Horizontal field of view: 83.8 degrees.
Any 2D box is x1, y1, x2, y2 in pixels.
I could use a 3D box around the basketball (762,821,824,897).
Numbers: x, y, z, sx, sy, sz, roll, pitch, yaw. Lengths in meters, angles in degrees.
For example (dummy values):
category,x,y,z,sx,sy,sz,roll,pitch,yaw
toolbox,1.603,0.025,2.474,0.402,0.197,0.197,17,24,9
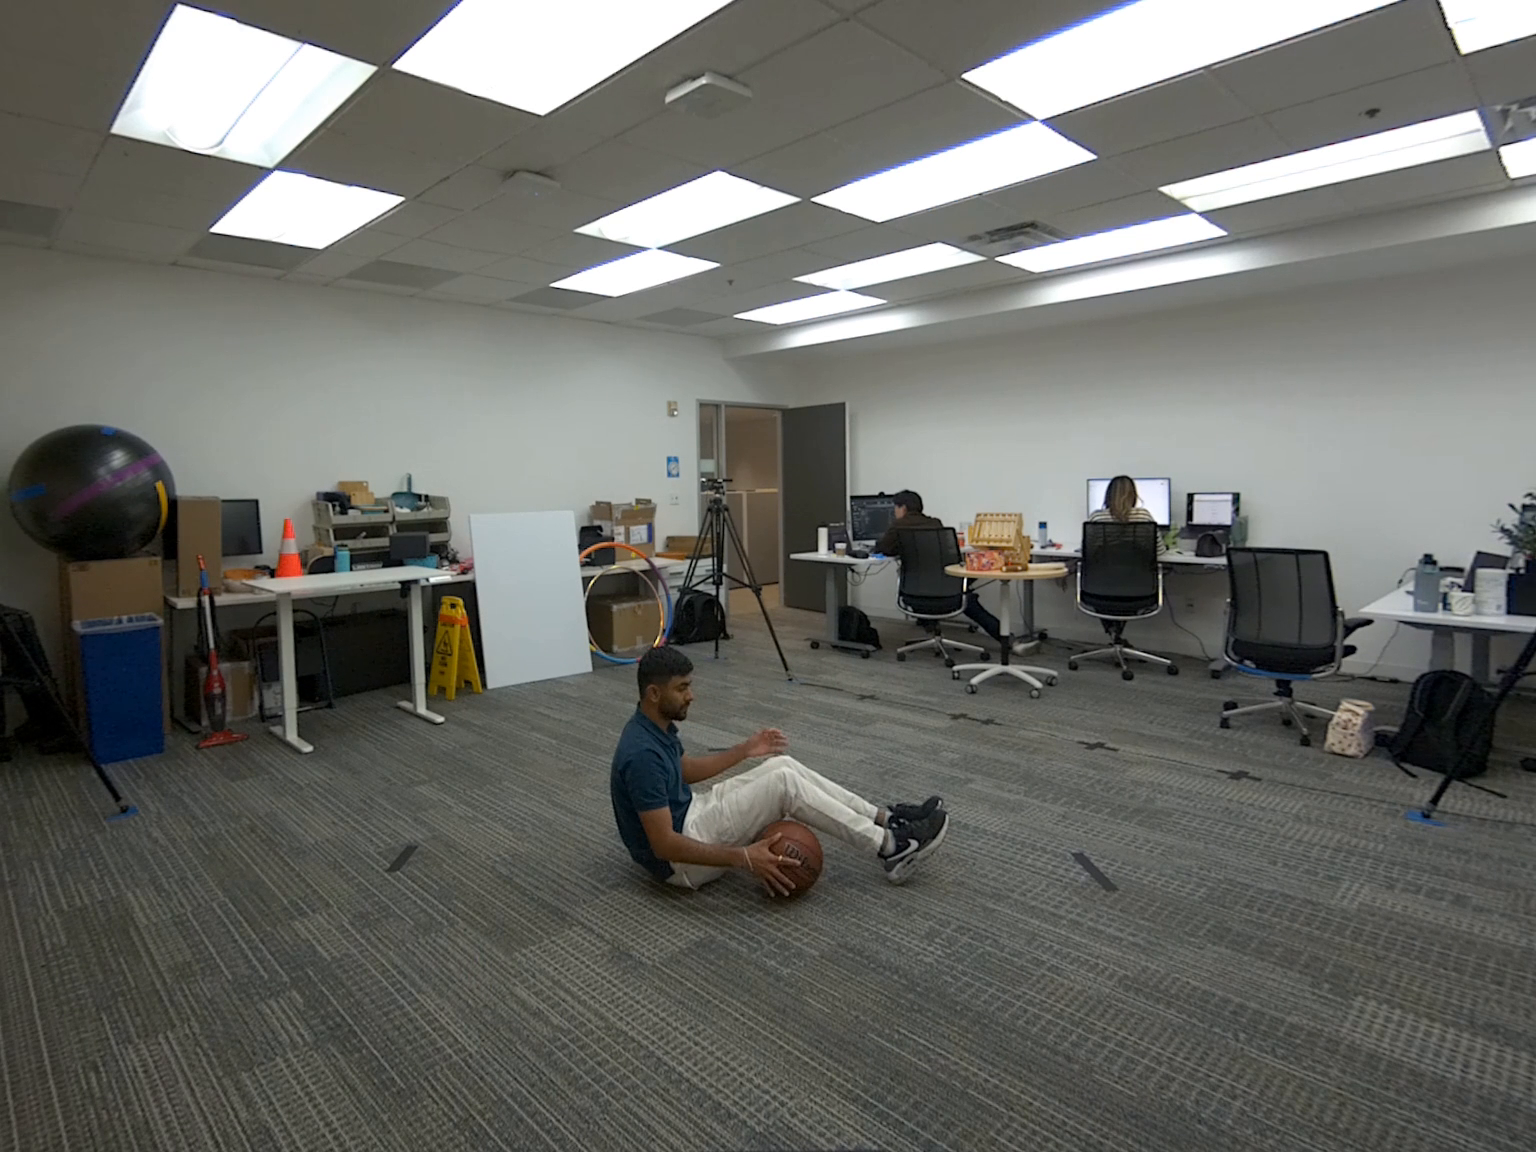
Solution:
category,x,y,z,sx,sy,sz,roll,pitch,yaw
basketball,0.062,0.939,2.878,0.236,0.235,0.237,-1,5,-2
